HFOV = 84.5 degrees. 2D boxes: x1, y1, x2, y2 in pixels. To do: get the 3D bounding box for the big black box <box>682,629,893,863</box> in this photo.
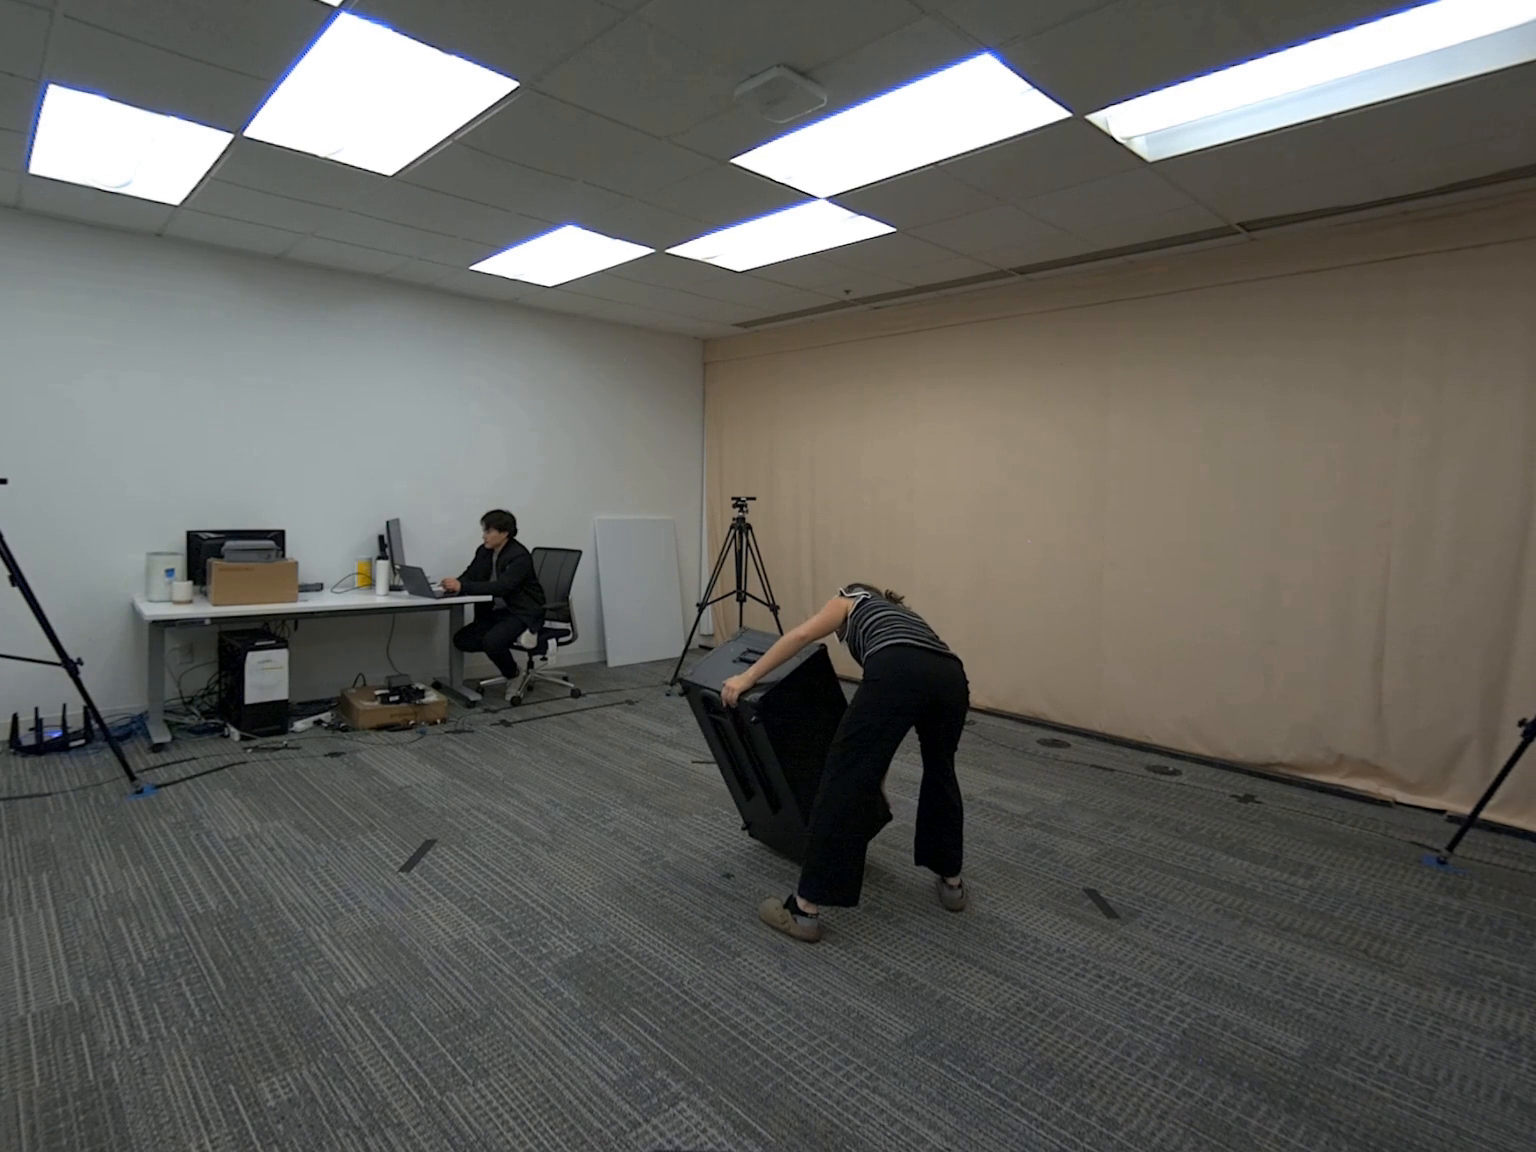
[{"bbox_3d":[0.058,0.678,3.169,0.393,0.847,0.534,-34,21,-30],"label":"big black box"}]
